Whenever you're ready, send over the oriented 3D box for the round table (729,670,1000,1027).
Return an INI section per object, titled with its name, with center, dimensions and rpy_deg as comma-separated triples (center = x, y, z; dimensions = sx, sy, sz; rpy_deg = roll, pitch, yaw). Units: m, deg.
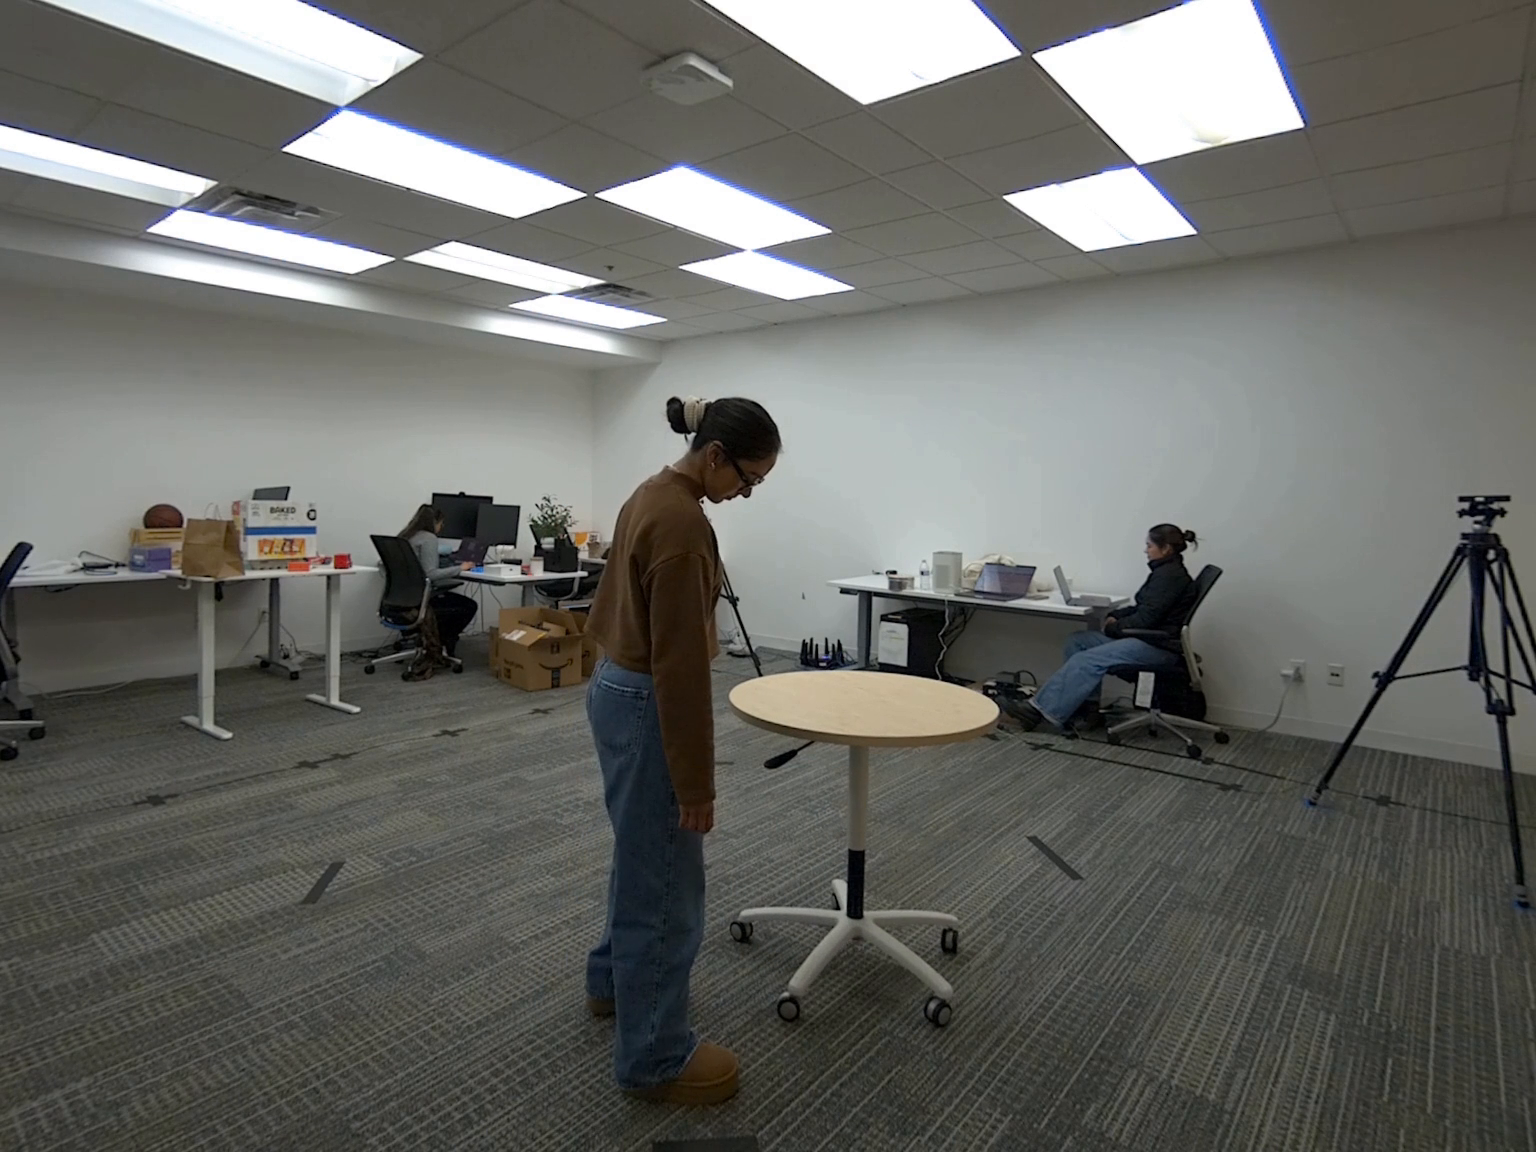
[round table]
center = 0.249, 0.745, 2.488
dimensions = 0.763, 0.791, 0.768
rpy_deg = 1, 4, -2
